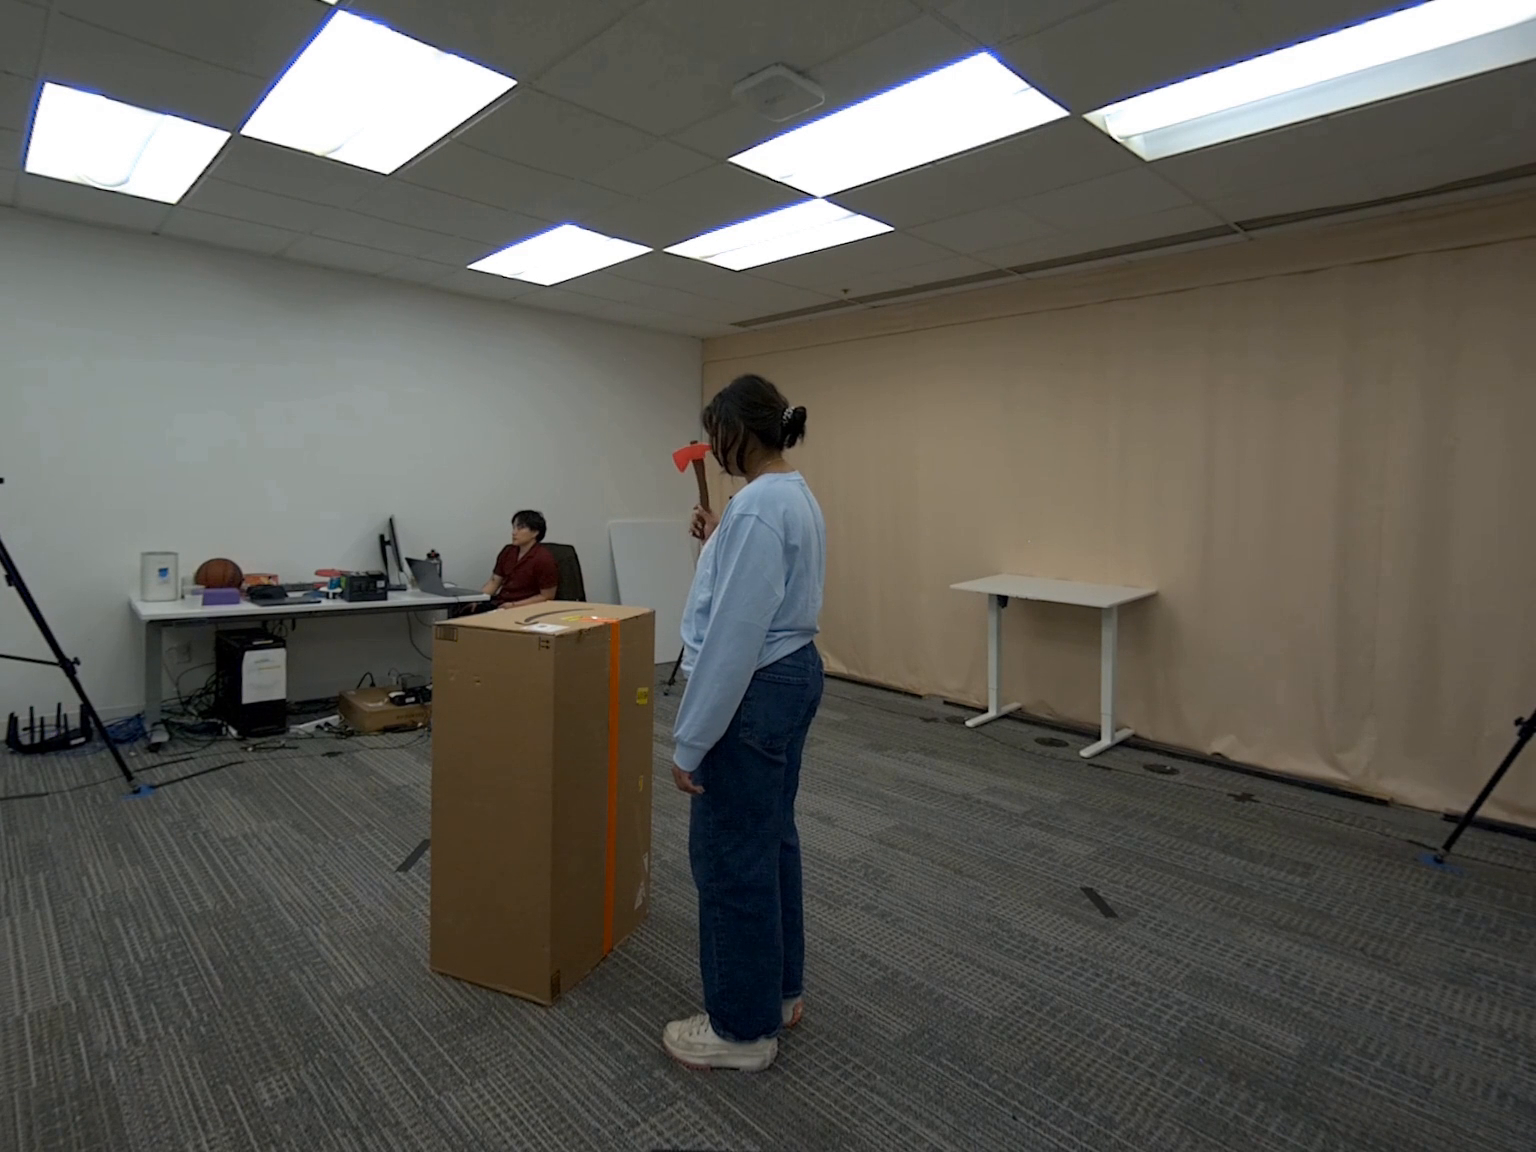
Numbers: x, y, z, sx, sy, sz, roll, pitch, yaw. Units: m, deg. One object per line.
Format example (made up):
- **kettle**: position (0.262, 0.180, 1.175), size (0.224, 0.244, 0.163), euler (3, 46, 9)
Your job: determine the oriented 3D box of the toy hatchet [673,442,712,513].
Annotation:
- **toy hatchet**: position (-0.229, -0.236, 2.328), size (0.132, 0.268, 0.029), euler (9, 10, 11)
